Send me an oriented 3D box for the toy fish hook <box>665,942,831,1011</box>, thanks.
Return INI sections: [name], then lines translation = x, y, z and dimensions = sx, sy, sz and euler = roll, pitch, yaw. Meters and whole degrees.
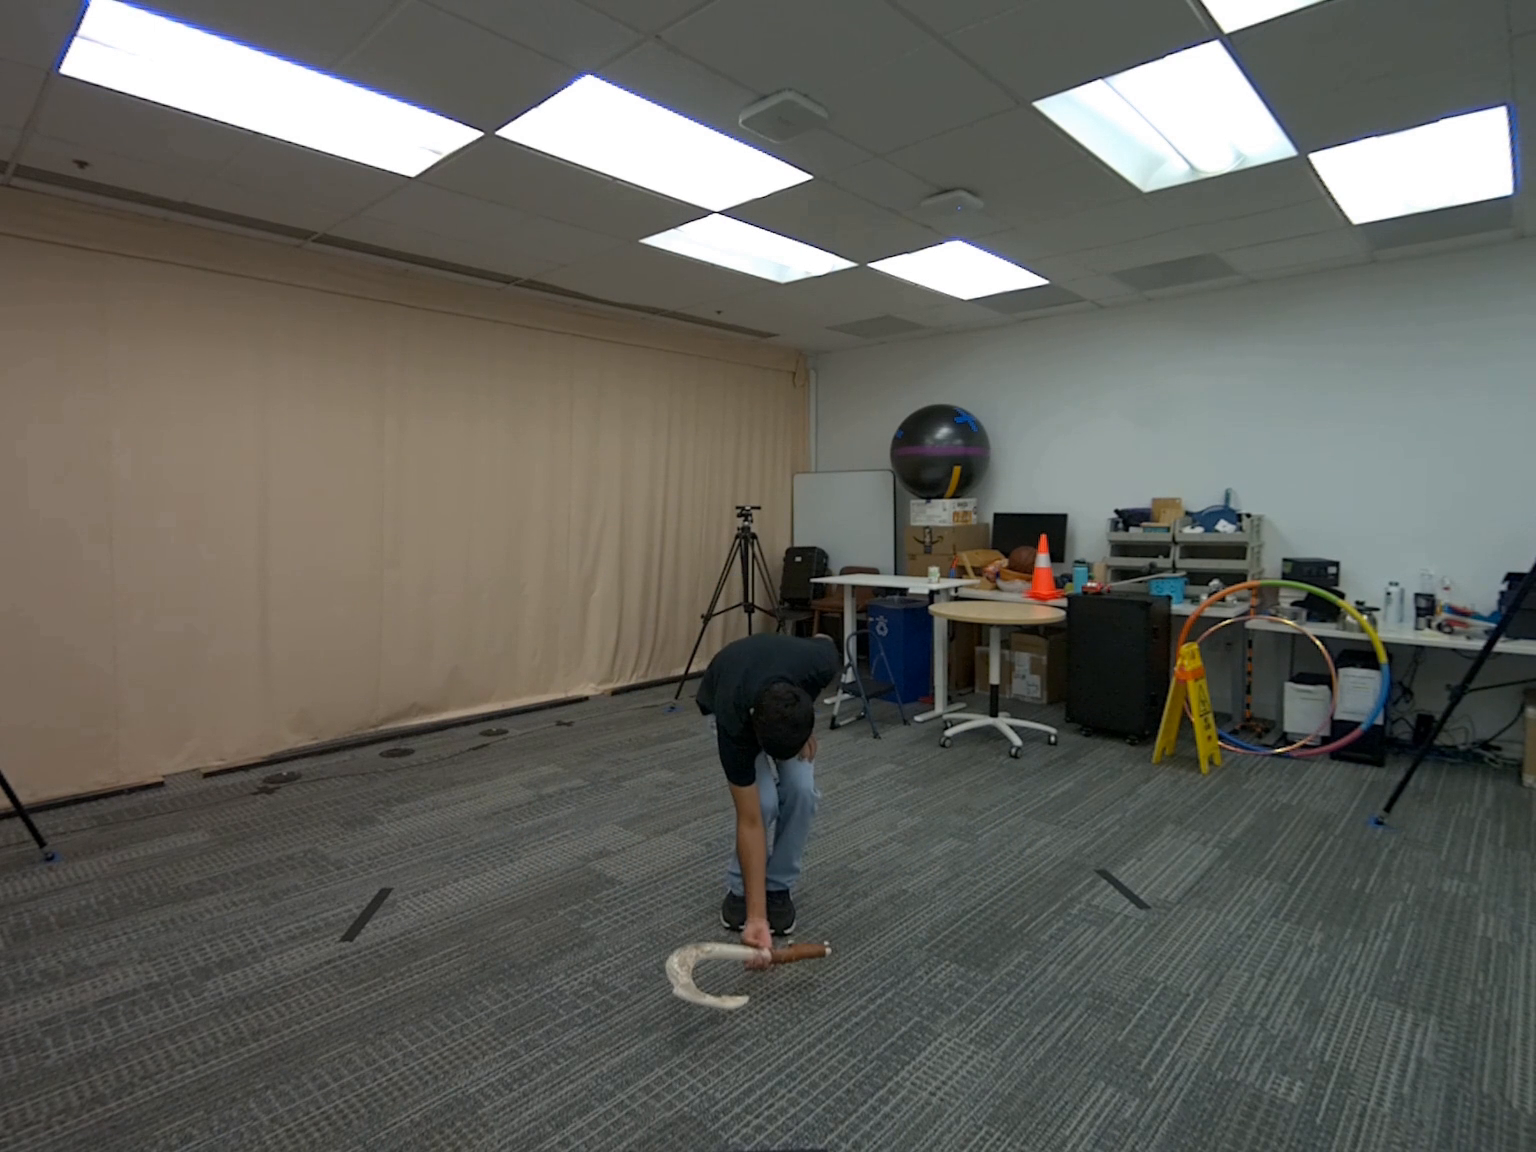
[toy fish hook]
translation = -0.021, 1.079, 2.288
dimensions = 0.496, 0.048, 0.231
euler = 4, 21, -19
